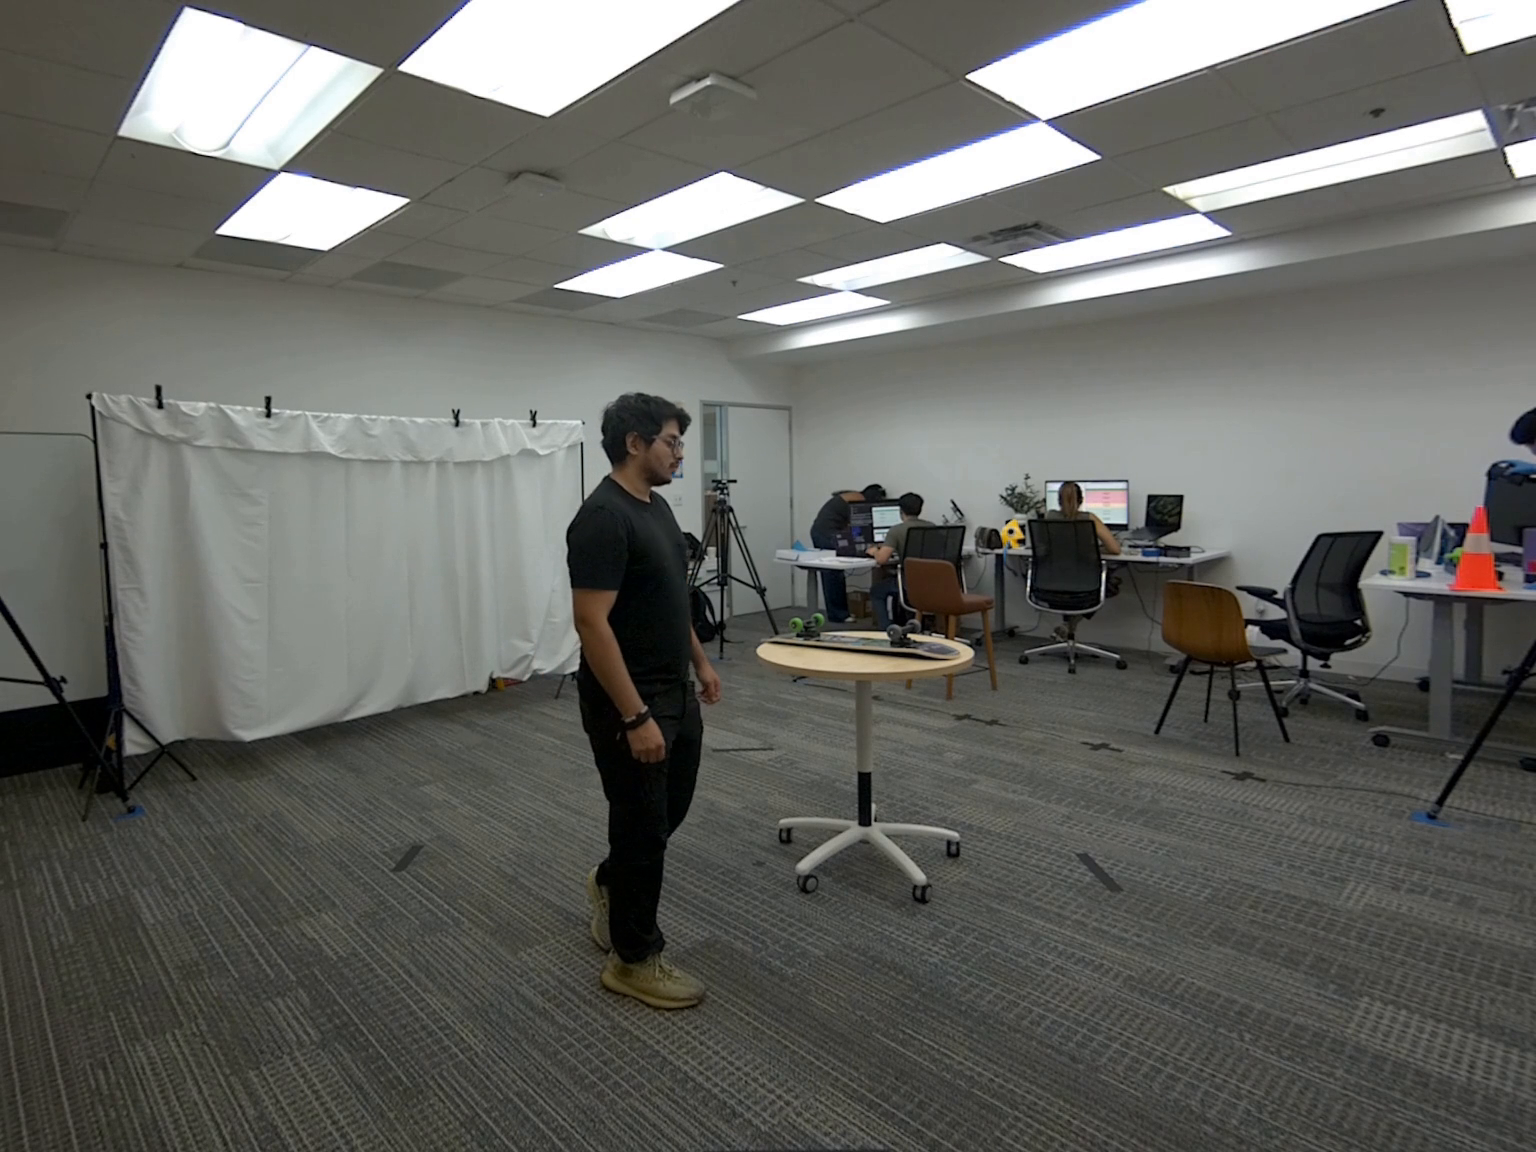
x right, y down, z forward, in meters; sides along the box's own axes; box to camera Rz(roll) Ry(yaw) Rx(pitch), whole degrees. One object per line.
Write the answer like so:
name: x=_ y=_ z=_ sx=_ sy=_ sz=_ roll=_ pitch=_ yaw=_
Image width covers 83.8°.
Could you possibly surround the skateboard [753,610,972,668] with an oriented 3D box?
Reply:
skateboard: x=0.321 y=0.216 z=3.112 sx=0.808 sy=0.110 sz=0.189 roll=2 pitch=8 yaw=38
